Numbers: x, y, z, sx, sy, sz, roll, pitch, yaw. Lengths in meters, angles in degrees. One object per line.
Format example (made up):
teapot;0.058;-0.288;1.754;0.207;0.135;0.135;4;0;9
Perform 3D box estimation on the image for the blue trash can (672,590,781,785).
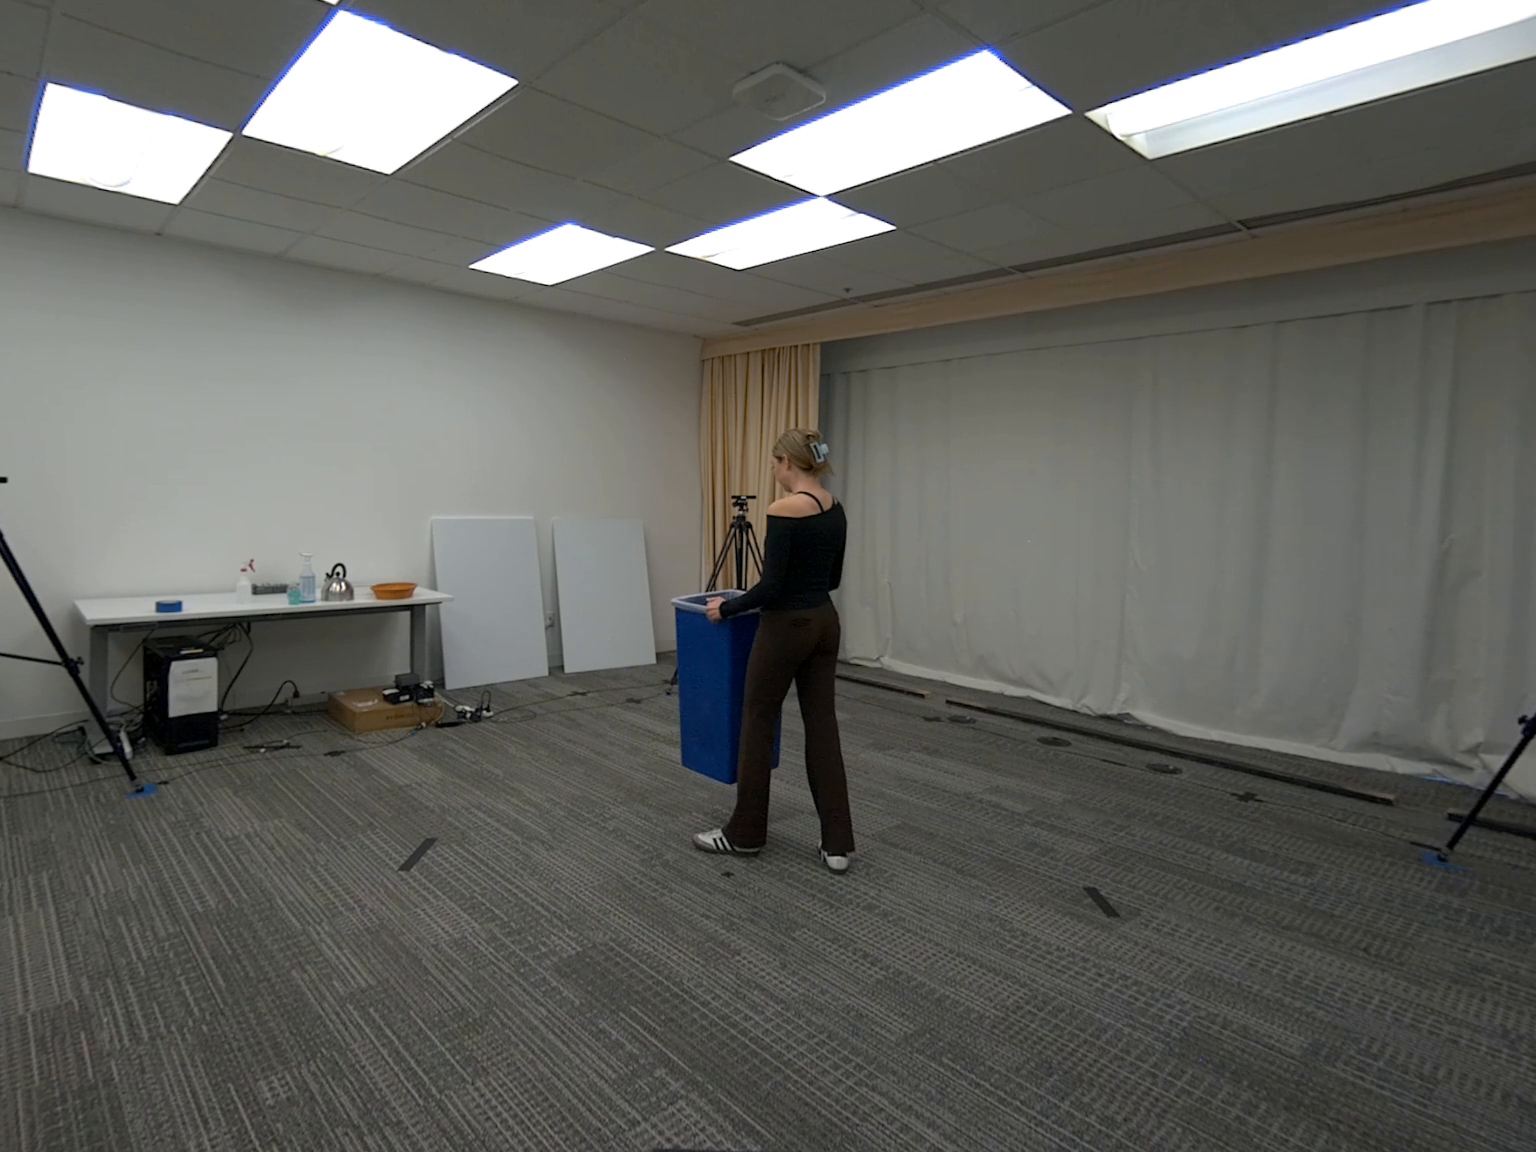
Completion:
blue trash can;-0.166;0.451;3.507;0.388;0.710;0.366;6;8;45
